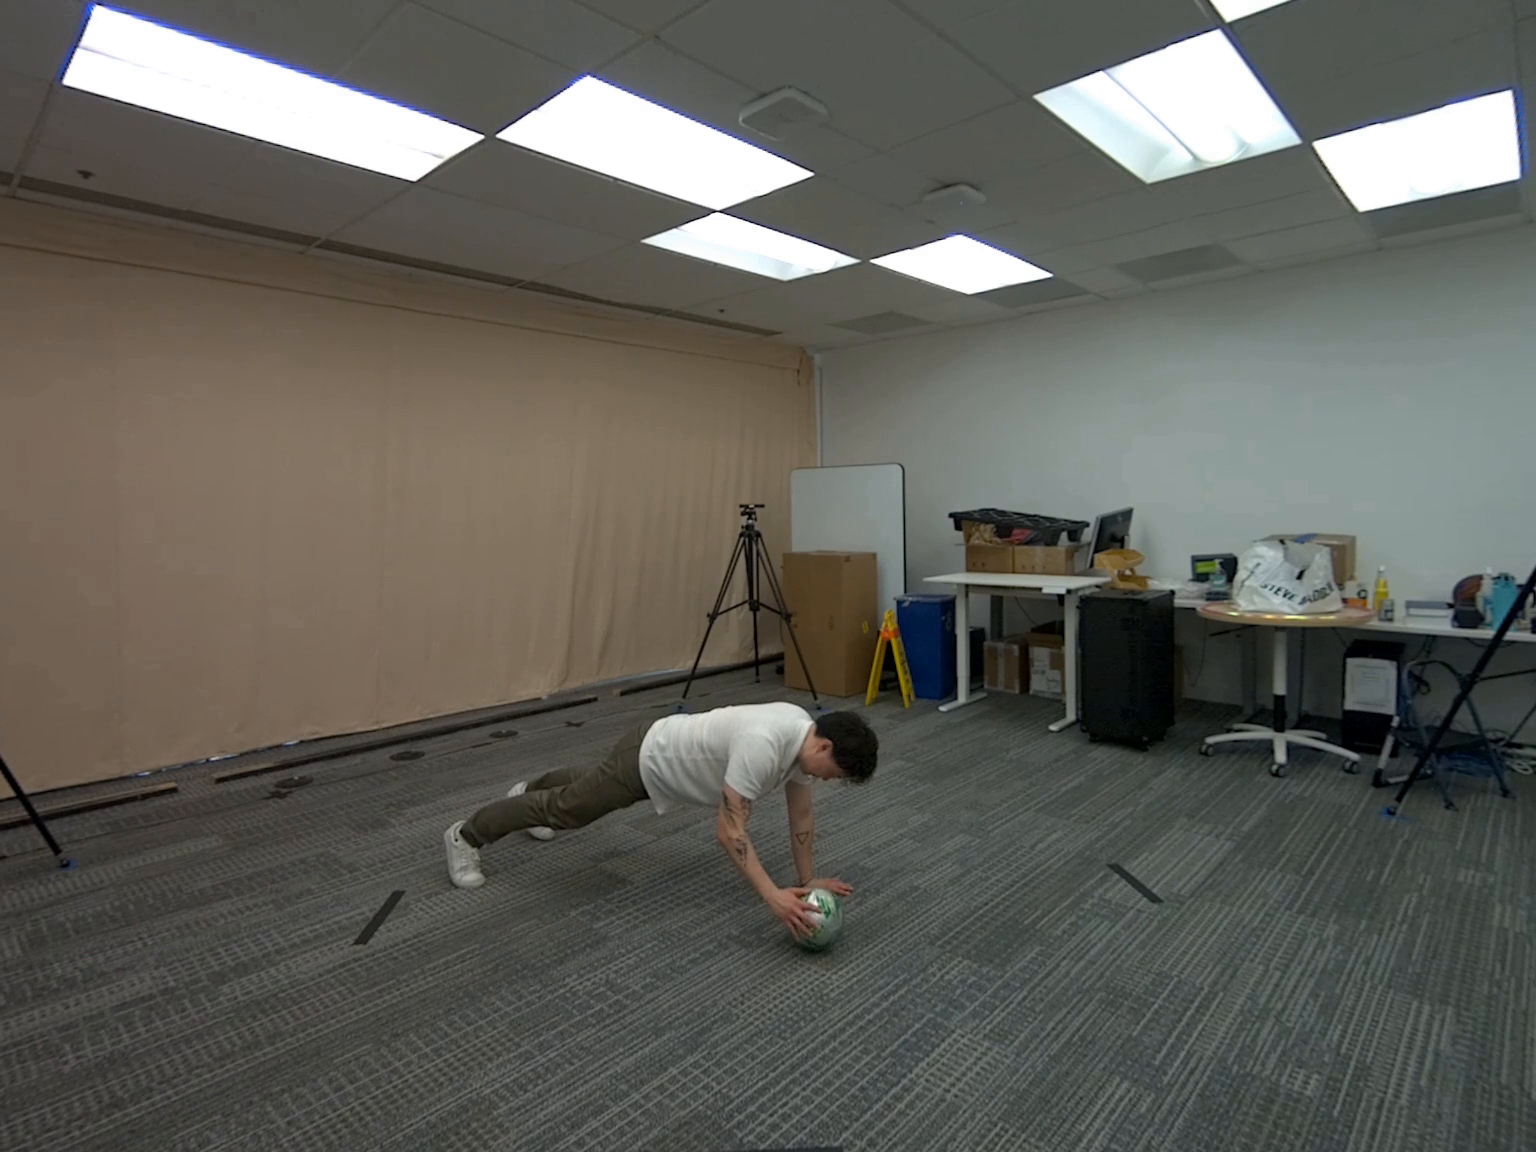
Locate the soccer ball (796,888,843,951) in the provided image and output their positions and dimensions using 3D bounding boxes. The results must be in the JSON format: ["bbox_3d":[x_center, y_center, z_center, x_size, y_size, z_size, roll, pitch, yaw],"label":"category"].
[{"bbox_3d":[0.147,1.068,2.661,0.187,0.187,0.188,-1,4,-2],"label":"soccer ball"}]
